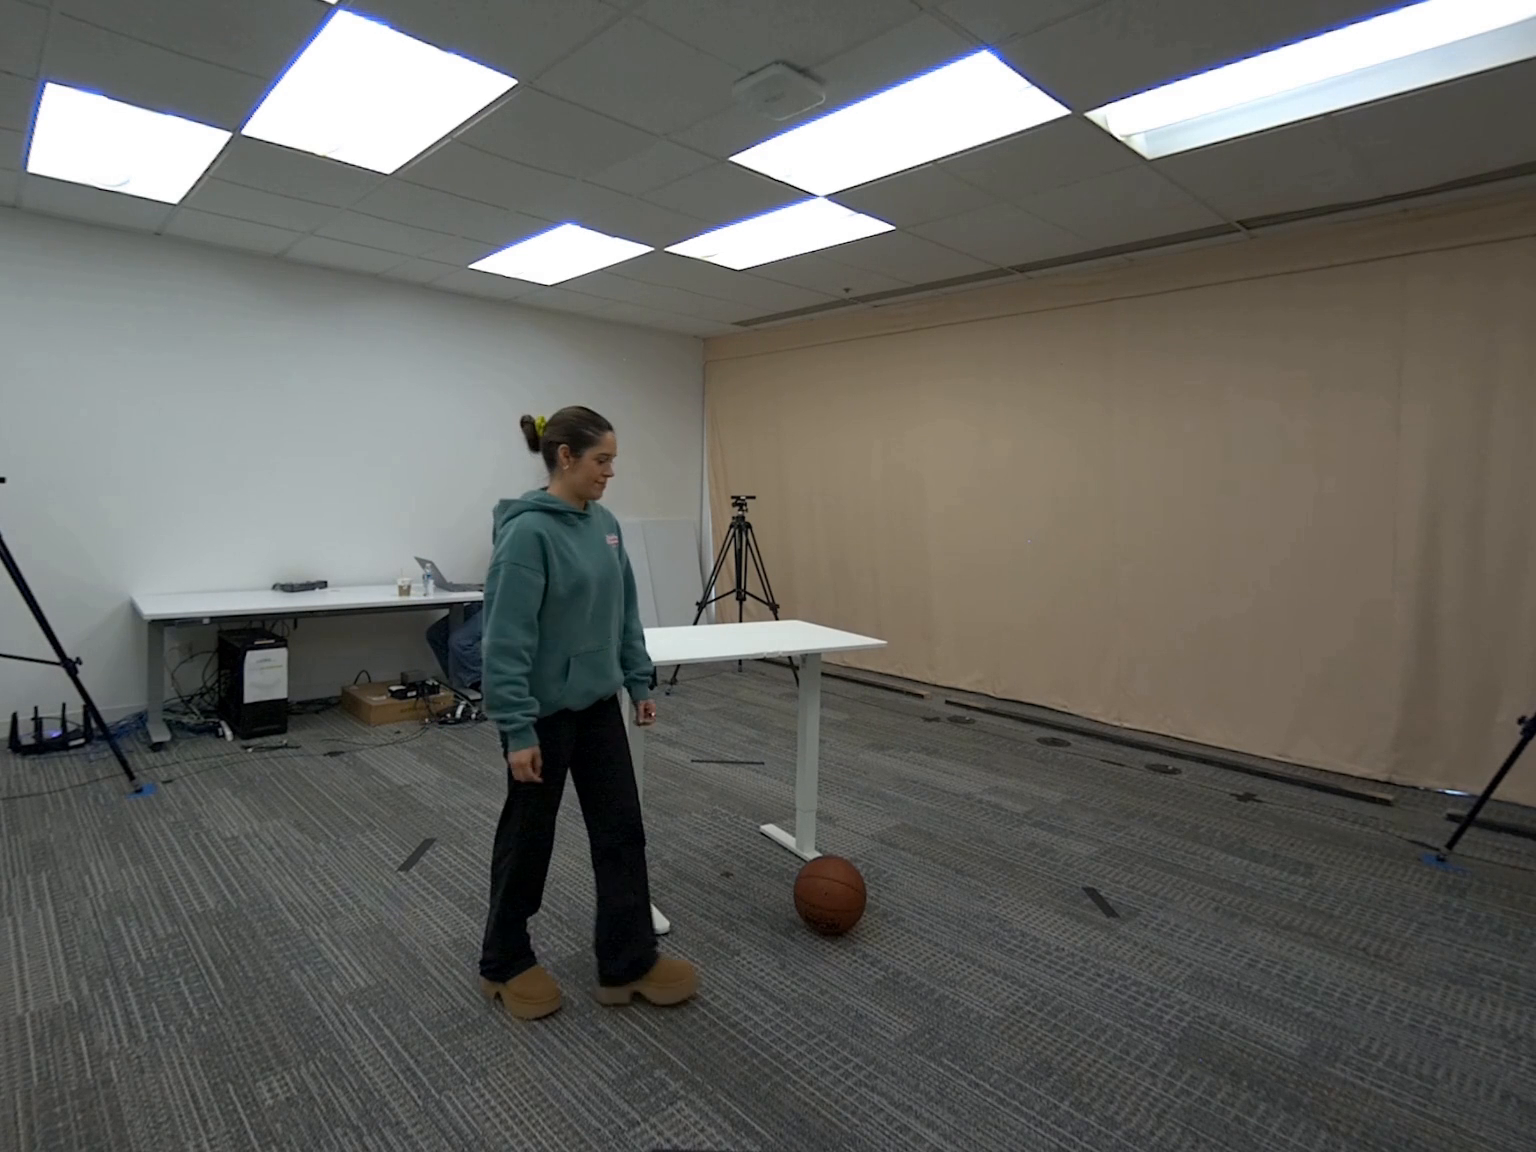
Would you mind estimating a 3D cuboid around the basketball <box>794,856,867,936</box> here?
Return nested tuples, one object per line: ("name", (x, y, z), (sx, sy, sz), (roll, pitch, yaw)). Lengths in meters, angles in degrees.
("basketball", (0.199, 1.034, 2.708), (0.236, 0.235, 0.237), (1, 4, -1))
